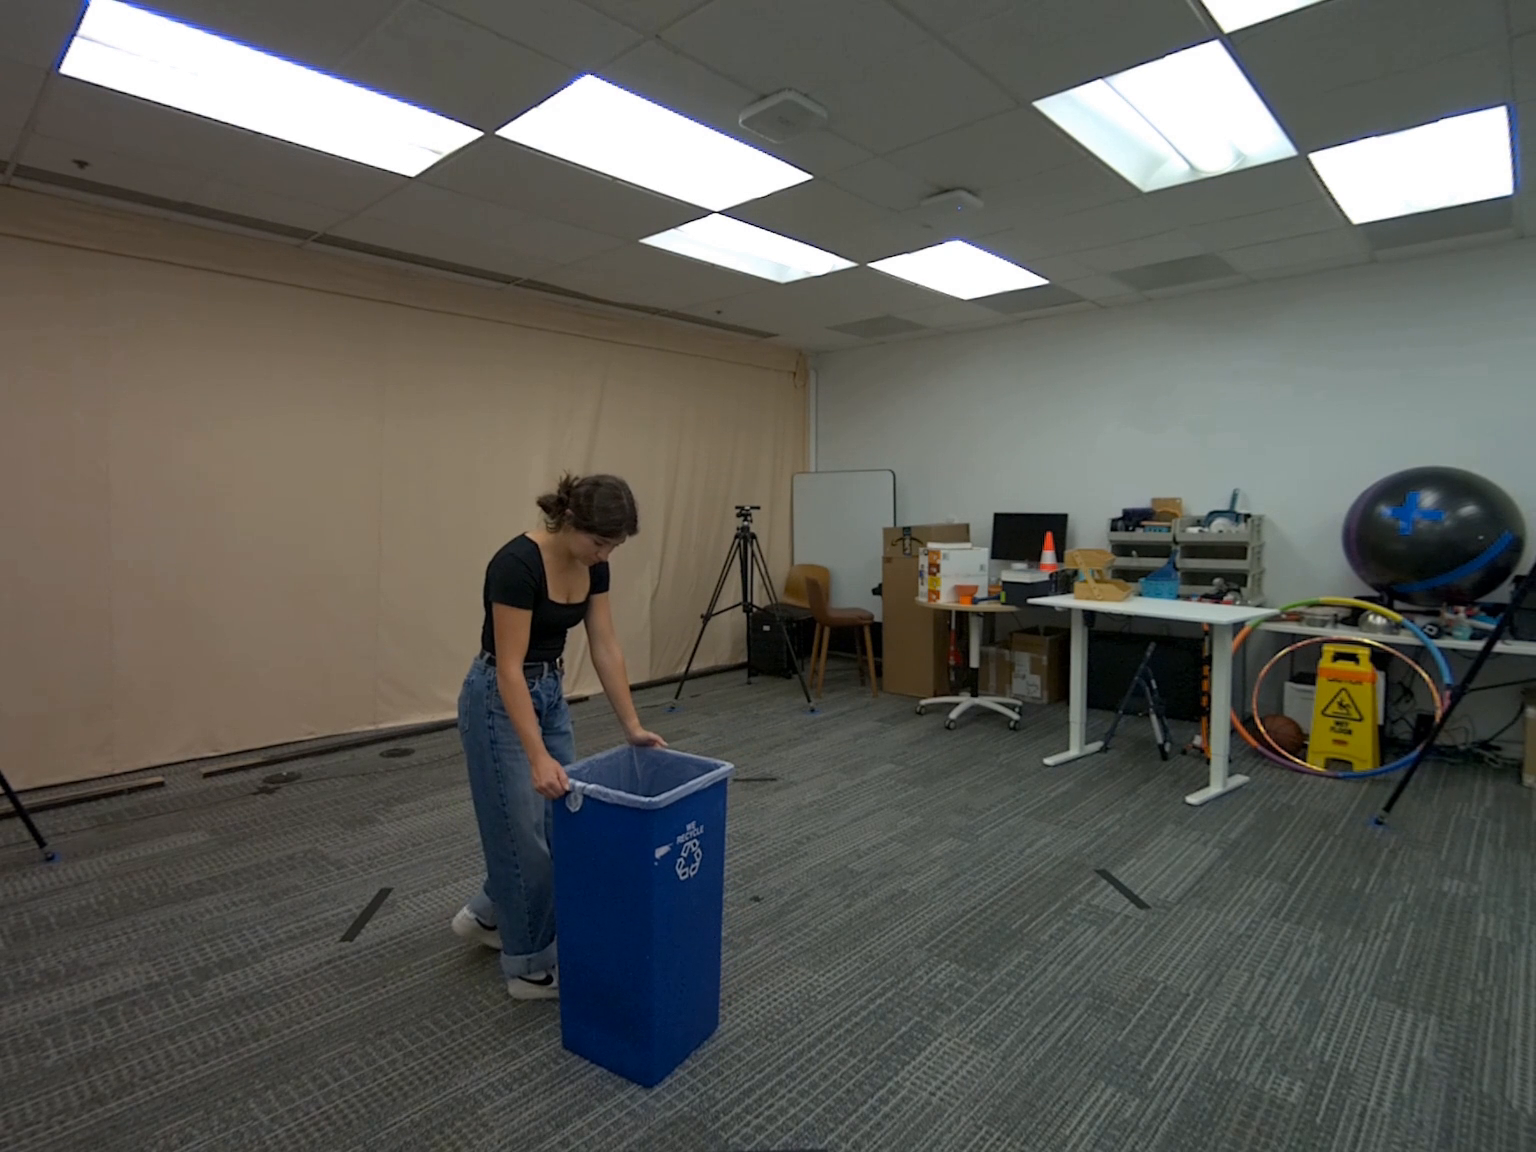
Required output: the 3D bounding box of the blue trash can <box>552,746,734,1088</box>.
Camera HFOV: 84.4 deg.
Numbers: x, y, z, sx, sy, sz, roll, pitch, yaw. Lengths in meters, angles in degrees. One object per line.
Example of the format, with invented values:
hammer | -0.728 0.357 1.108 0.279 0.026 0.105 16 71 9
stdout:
blue trash can | -0.327 0.854 2.197 0.389 0.712 0.364 2 4 32
